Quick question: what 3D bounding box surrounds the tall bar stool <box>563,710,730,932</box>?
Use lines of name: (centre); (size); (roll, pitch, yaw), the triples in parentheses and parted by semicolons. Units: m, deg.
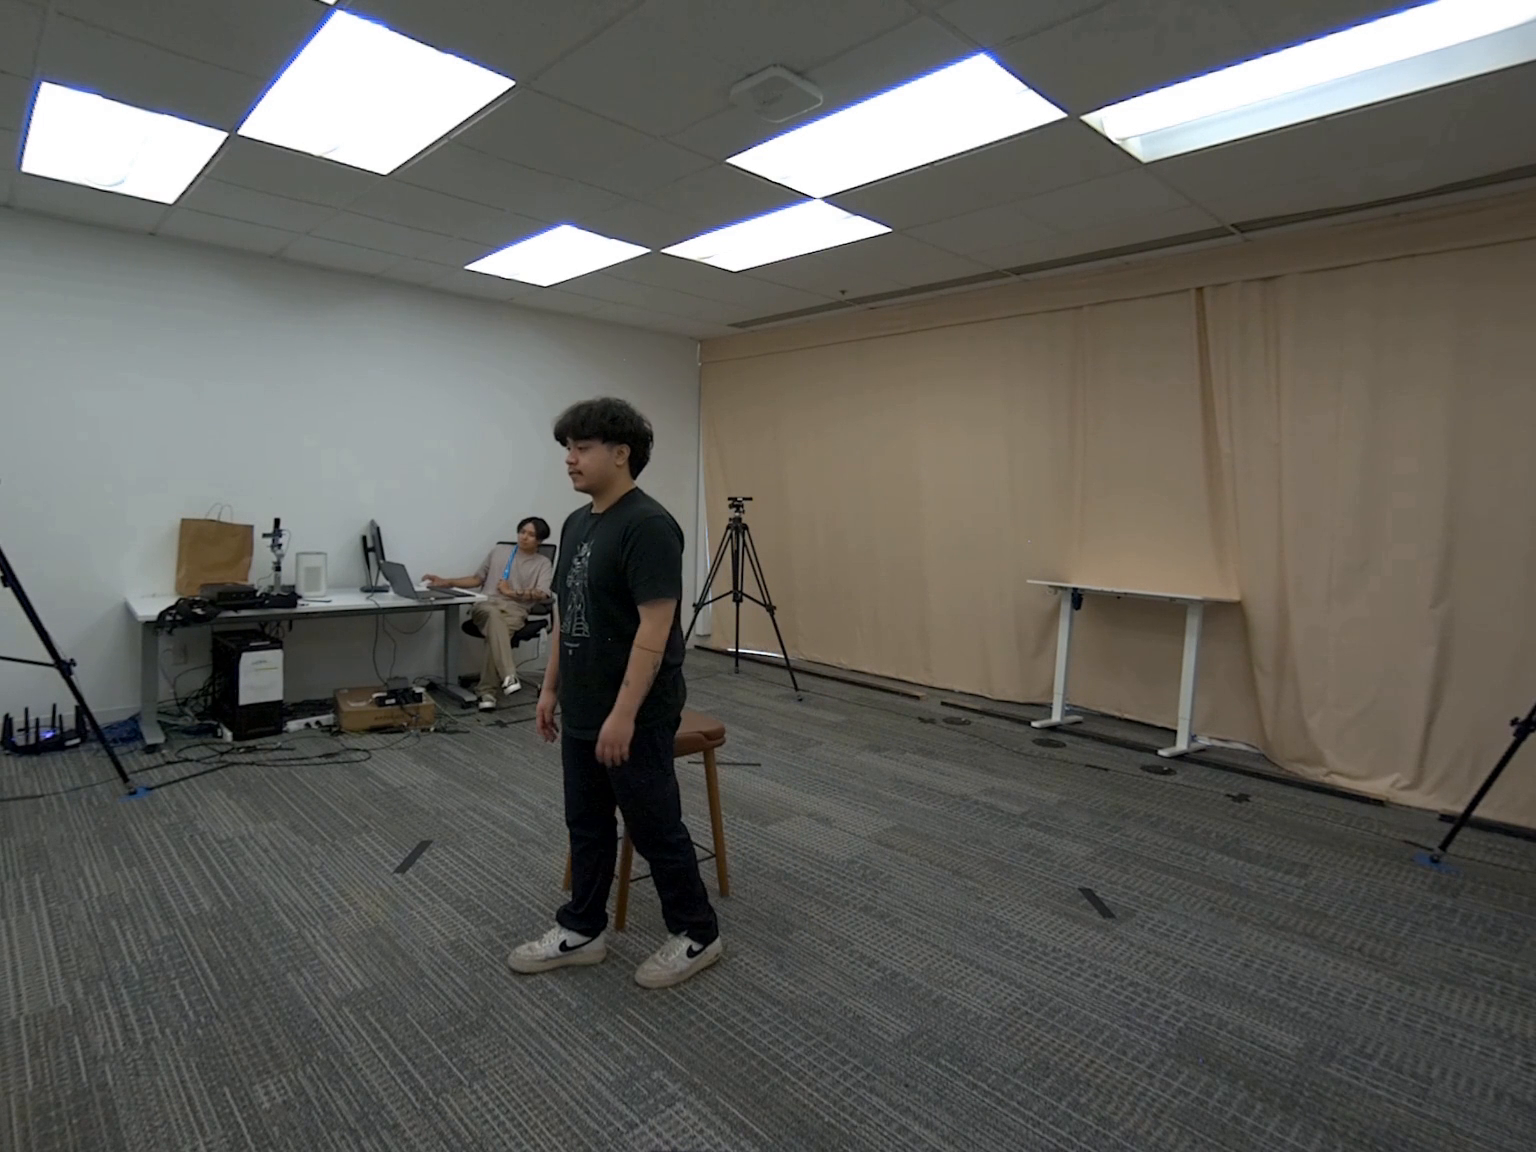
tall bar stool: (-0.440, 0.683, 2.938); (0.457, 0.886, 0.468); (-4, 6, -40)
